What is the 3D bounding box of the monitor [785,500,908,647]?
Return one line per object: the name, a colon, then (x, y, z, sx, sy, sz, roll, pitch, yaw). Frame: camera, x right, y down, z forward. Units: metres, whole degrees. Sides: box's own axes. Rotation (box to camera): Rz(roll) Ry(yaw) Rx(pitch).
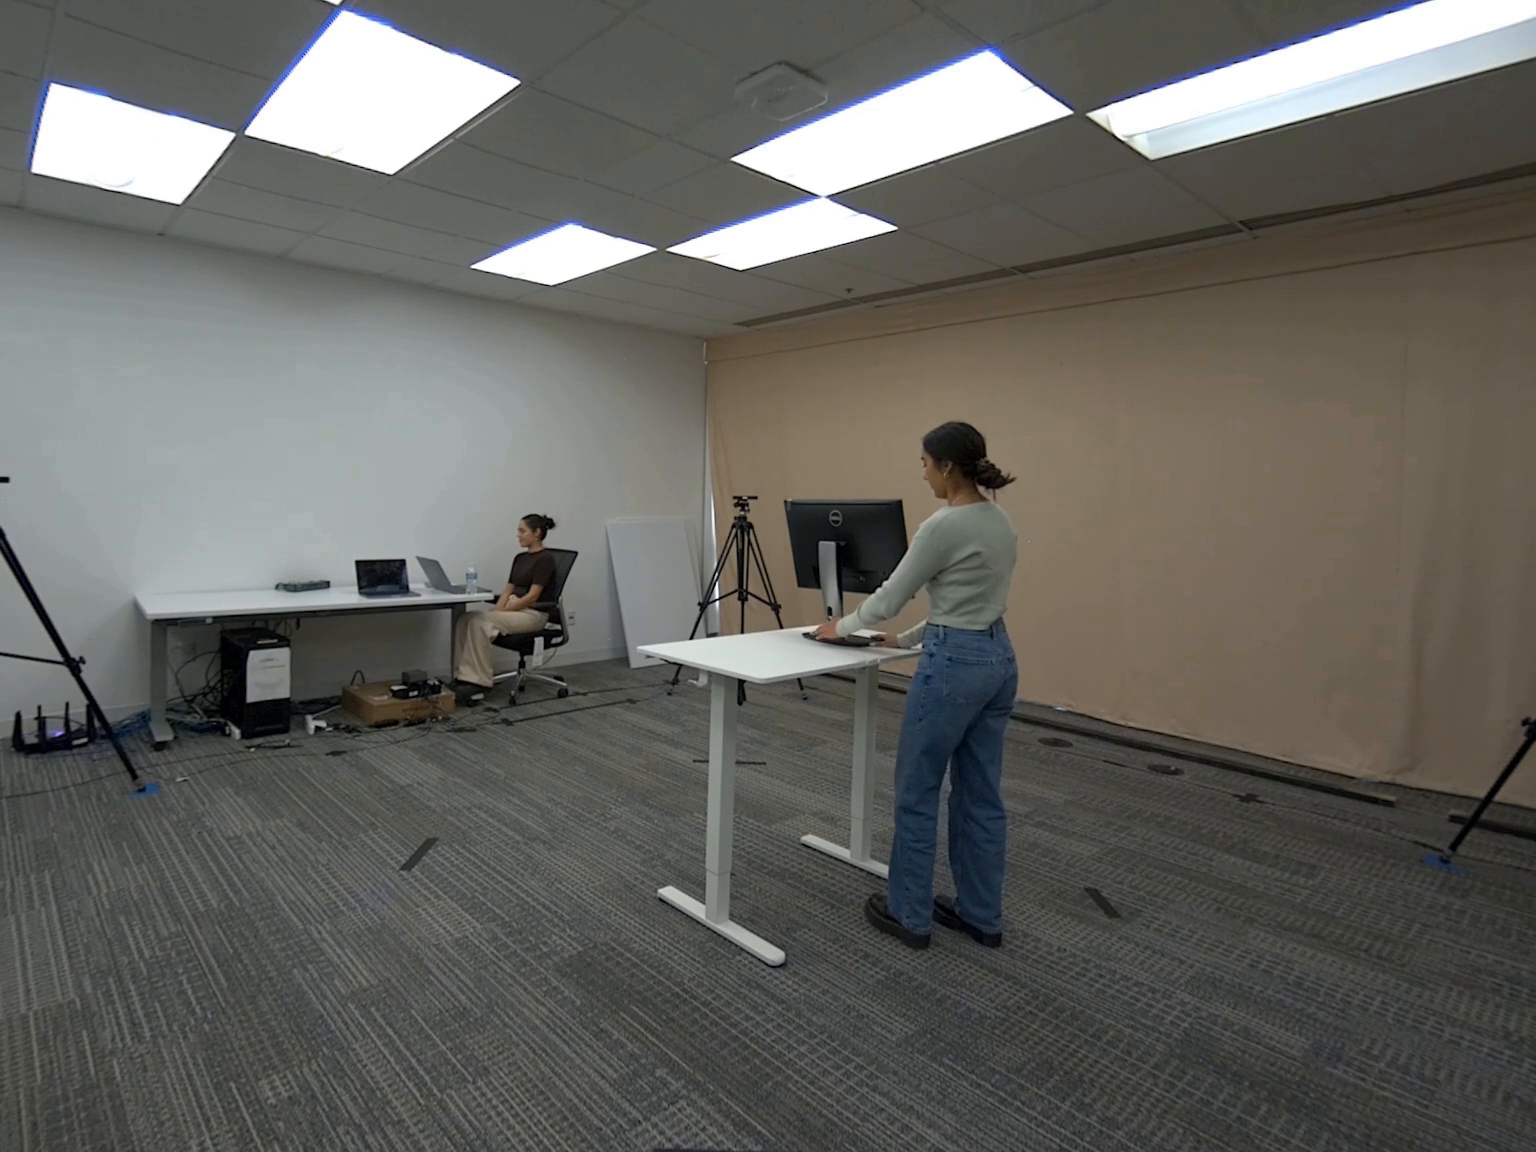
monitor: (0.261, -0.020, 3.043, 0.543, 0.516, 0.170, 3, 0, 45)
